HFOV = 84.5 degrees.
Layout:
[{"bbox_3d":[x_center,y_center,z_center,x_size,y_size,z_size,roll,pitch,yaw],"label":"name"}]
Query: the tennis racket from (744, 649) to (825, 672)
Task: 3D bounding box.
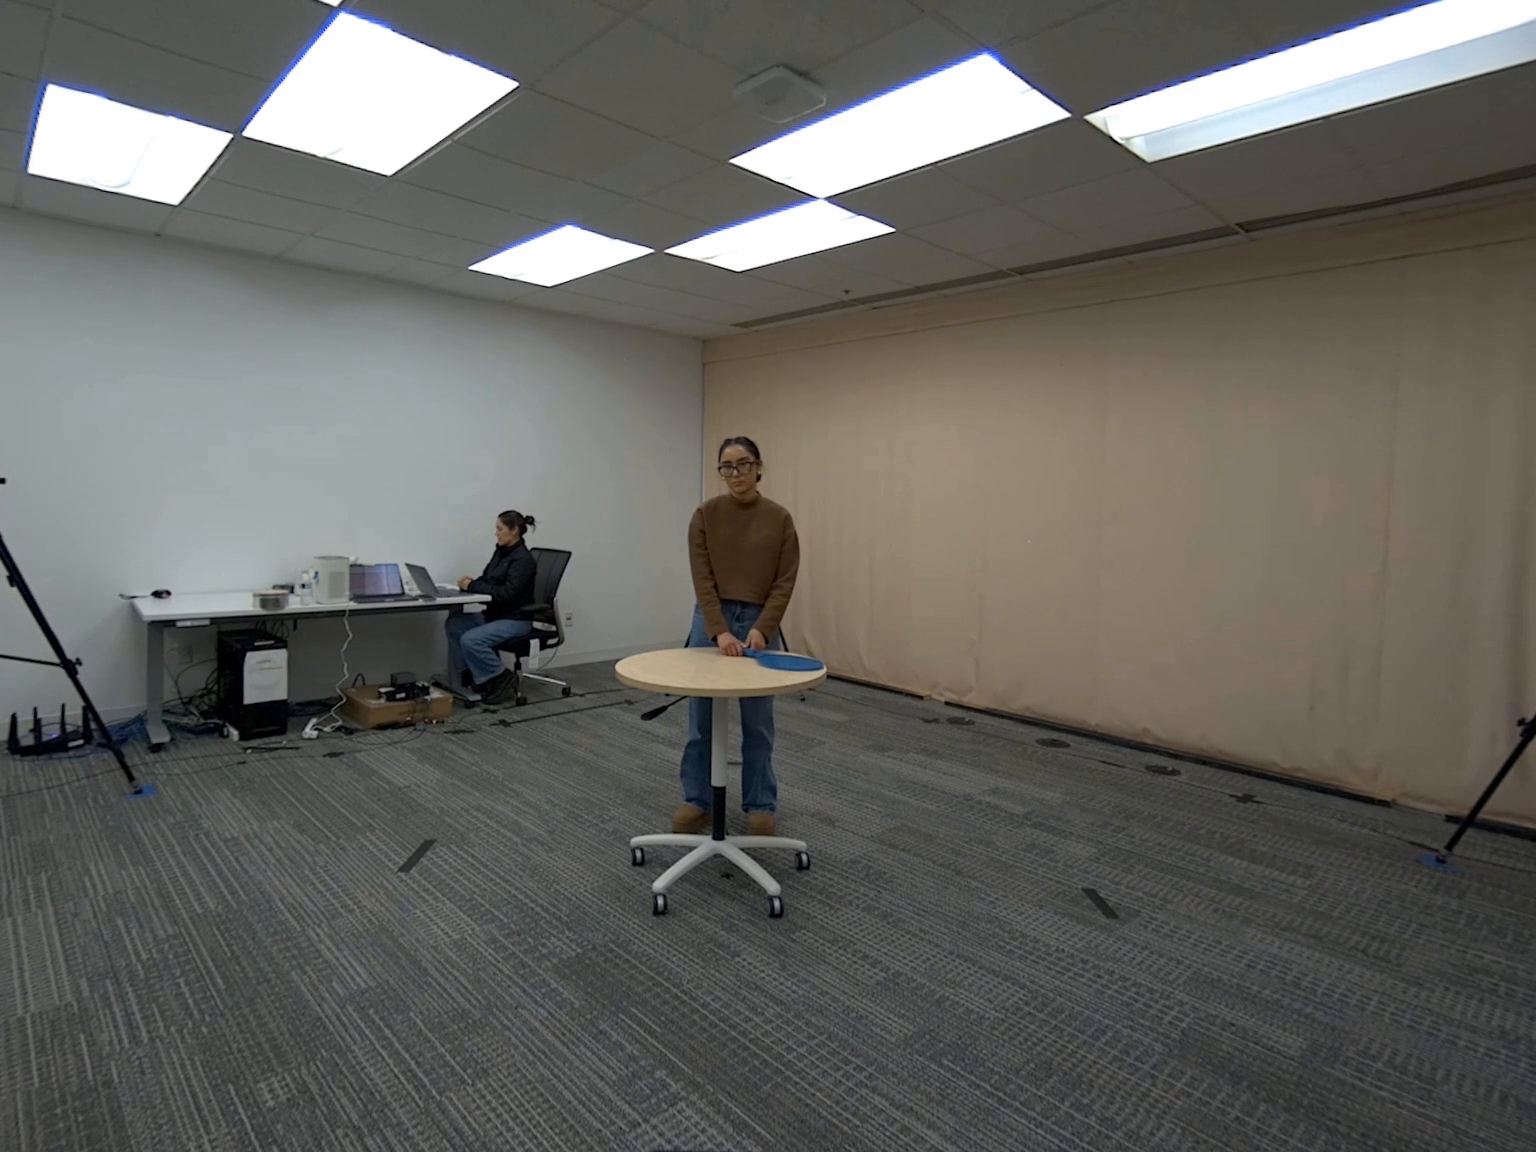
[{"bbox_3d":[0.022,0.318,3.156,0.209,0.031,0.444,-3,7,-38],"label":"tennis racket"}]
